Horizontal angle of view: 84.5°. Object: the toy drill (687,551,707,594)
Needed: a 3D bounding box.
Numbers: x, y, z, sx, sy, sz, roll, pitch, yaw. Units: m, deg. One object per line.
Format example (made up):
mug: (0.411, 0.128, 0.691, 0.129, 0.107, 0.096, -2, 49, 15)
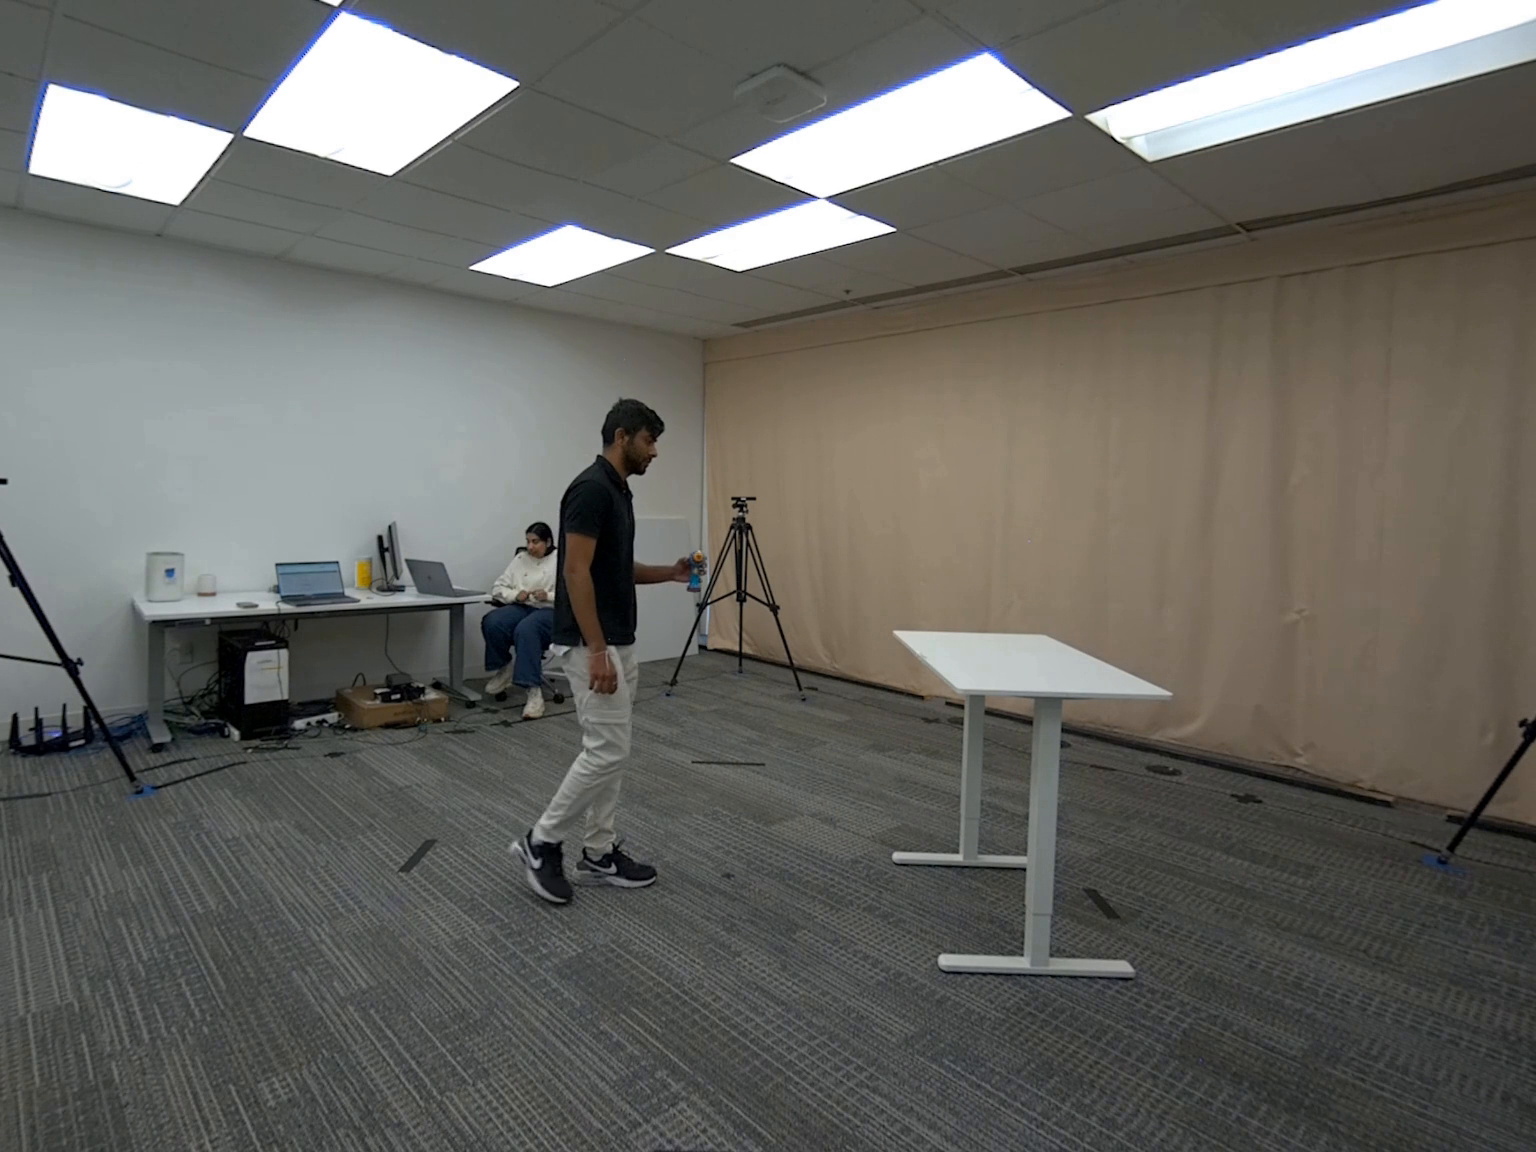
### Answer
toy drill: (-0.291, -0.030, 3.018, 0.060, 0.146, 0.171, 23, -9, -10)
